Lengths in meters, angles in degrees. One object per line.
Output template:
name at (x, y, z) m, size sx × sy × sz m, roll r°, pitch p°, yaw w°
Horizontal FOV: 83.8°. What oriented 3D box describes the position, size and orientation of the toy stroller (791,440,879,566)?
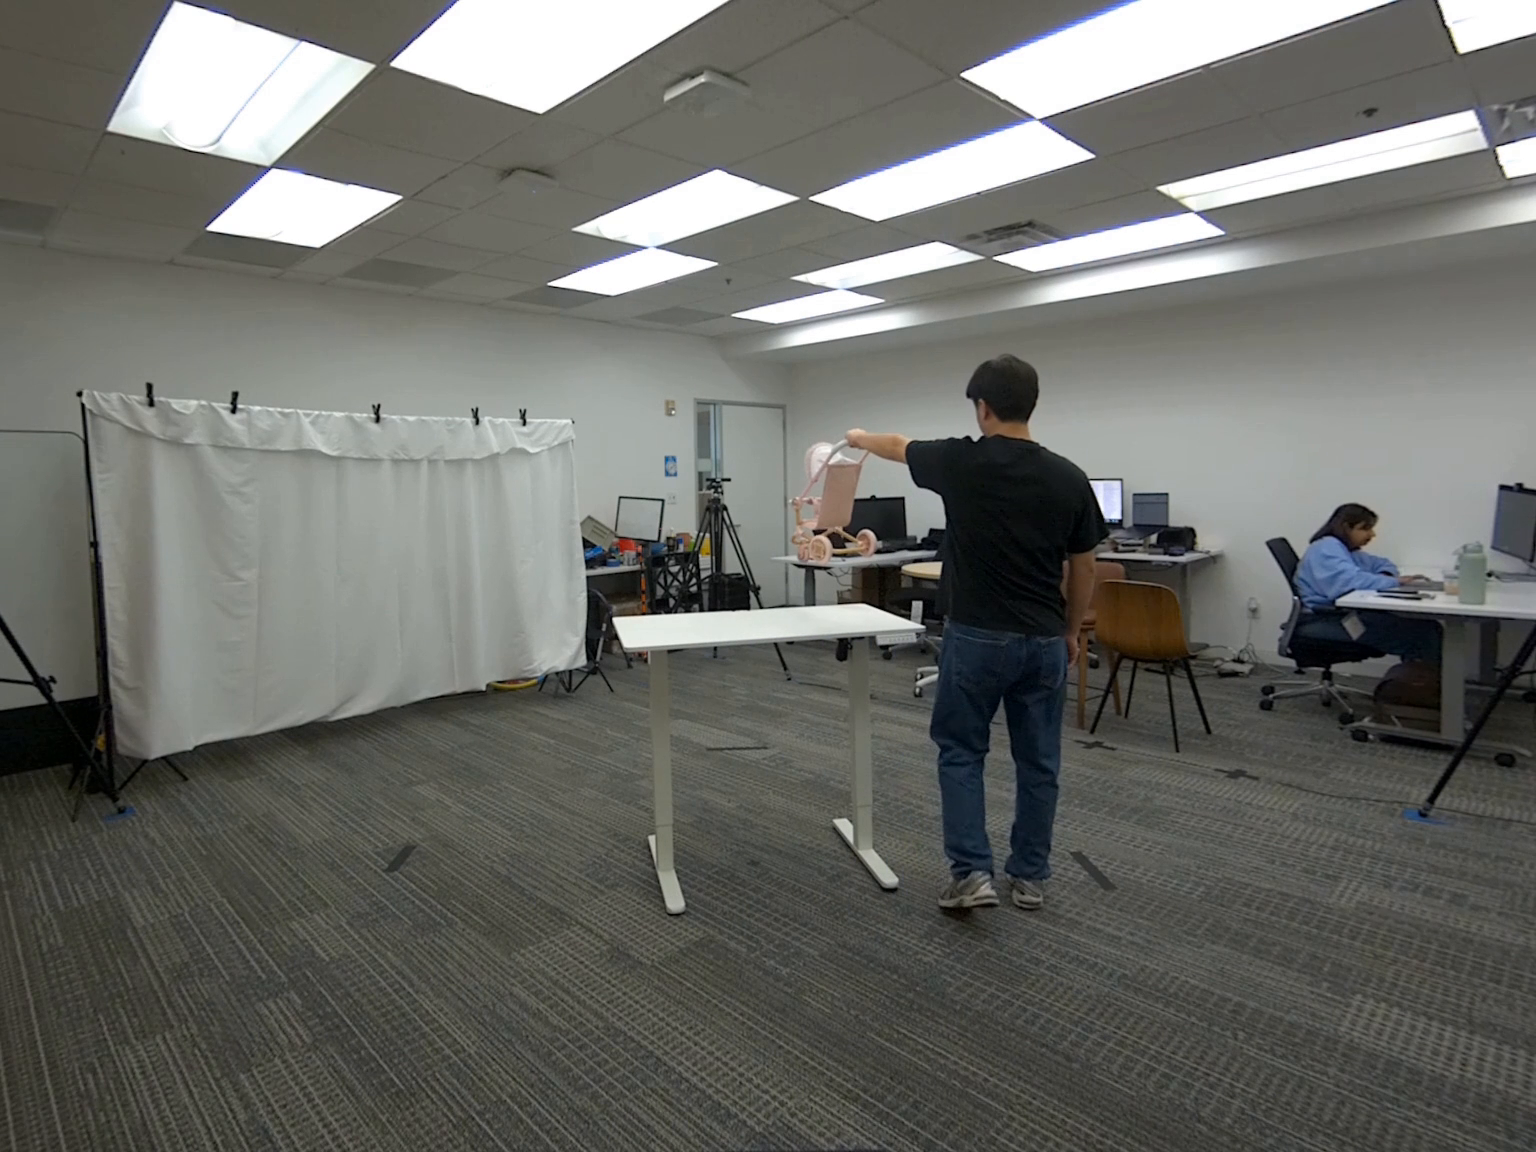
toy stroller at (0.240, -0.287, 3.402) m, size 0.275 × 0.530 × 0.353 m, roll -6°, pitch 13°, yaw -33°
